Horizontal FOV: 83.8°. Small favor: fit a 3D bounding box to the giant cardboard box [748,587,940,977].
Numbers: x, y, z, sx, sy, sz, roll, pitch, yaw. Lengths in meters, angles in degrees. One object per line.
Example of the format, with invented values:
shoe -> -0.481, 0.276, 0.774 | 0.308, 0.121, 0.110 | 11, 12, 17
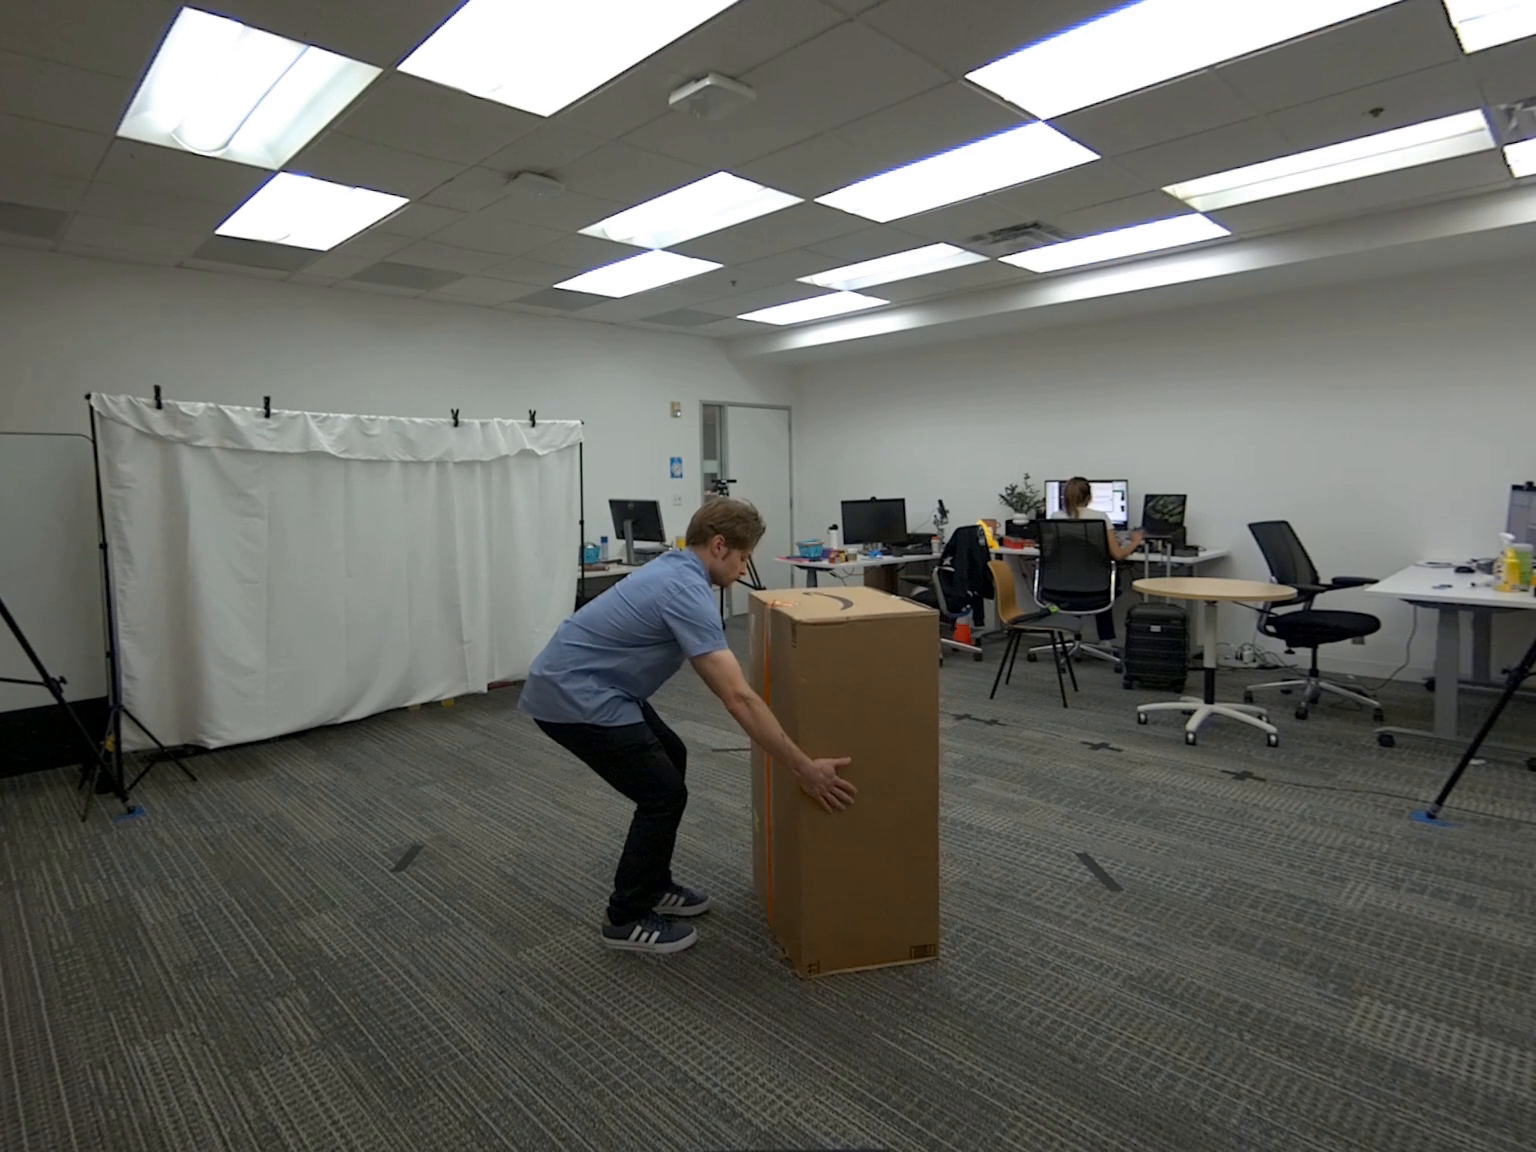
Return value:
giant cardboard box -> 0.216, 0.586, 2.670 | 0.421, 1.022, 0.587 | -2, 5, -13
